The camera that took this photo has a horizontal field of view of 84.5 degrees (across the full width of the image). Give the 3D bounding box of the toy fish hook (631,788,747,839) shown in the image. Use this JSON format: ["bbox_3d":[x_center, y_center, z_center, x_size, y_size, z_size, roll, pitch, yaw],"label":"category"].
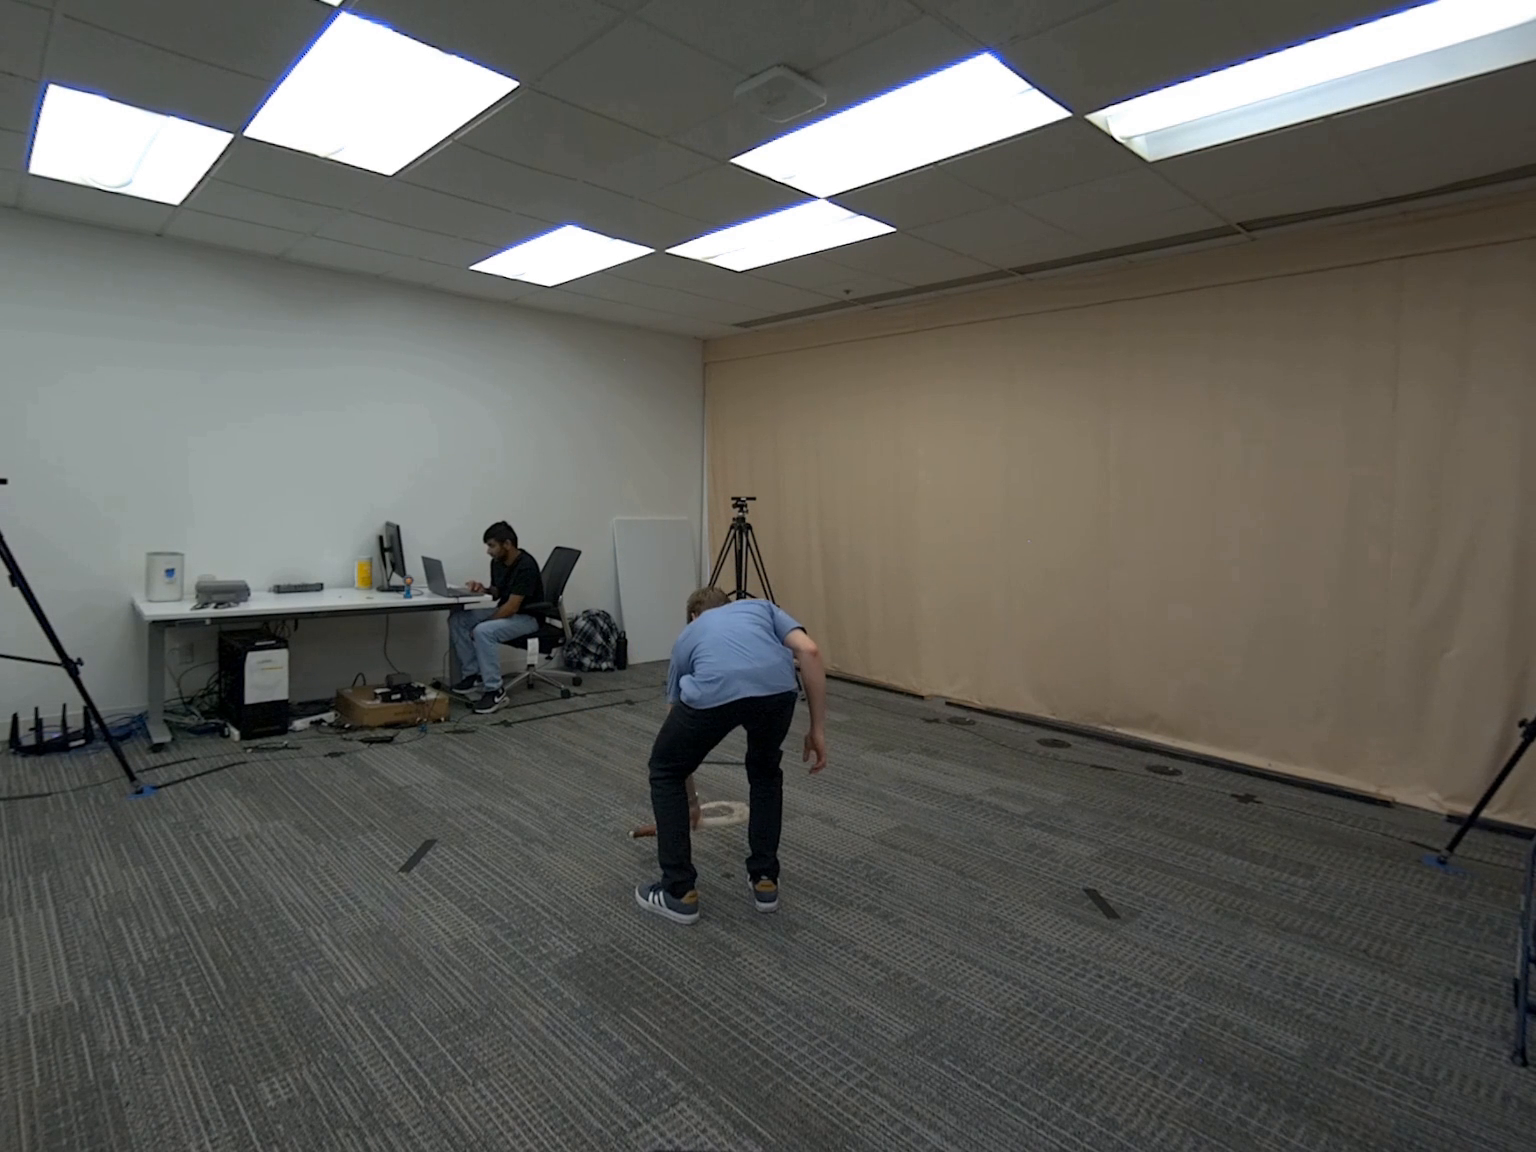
[{"bbox_3d":[-0.333,0.962,3.332,0.500,0.048,0.228,-4,3,-19],"label":"toy fish hook"}]
